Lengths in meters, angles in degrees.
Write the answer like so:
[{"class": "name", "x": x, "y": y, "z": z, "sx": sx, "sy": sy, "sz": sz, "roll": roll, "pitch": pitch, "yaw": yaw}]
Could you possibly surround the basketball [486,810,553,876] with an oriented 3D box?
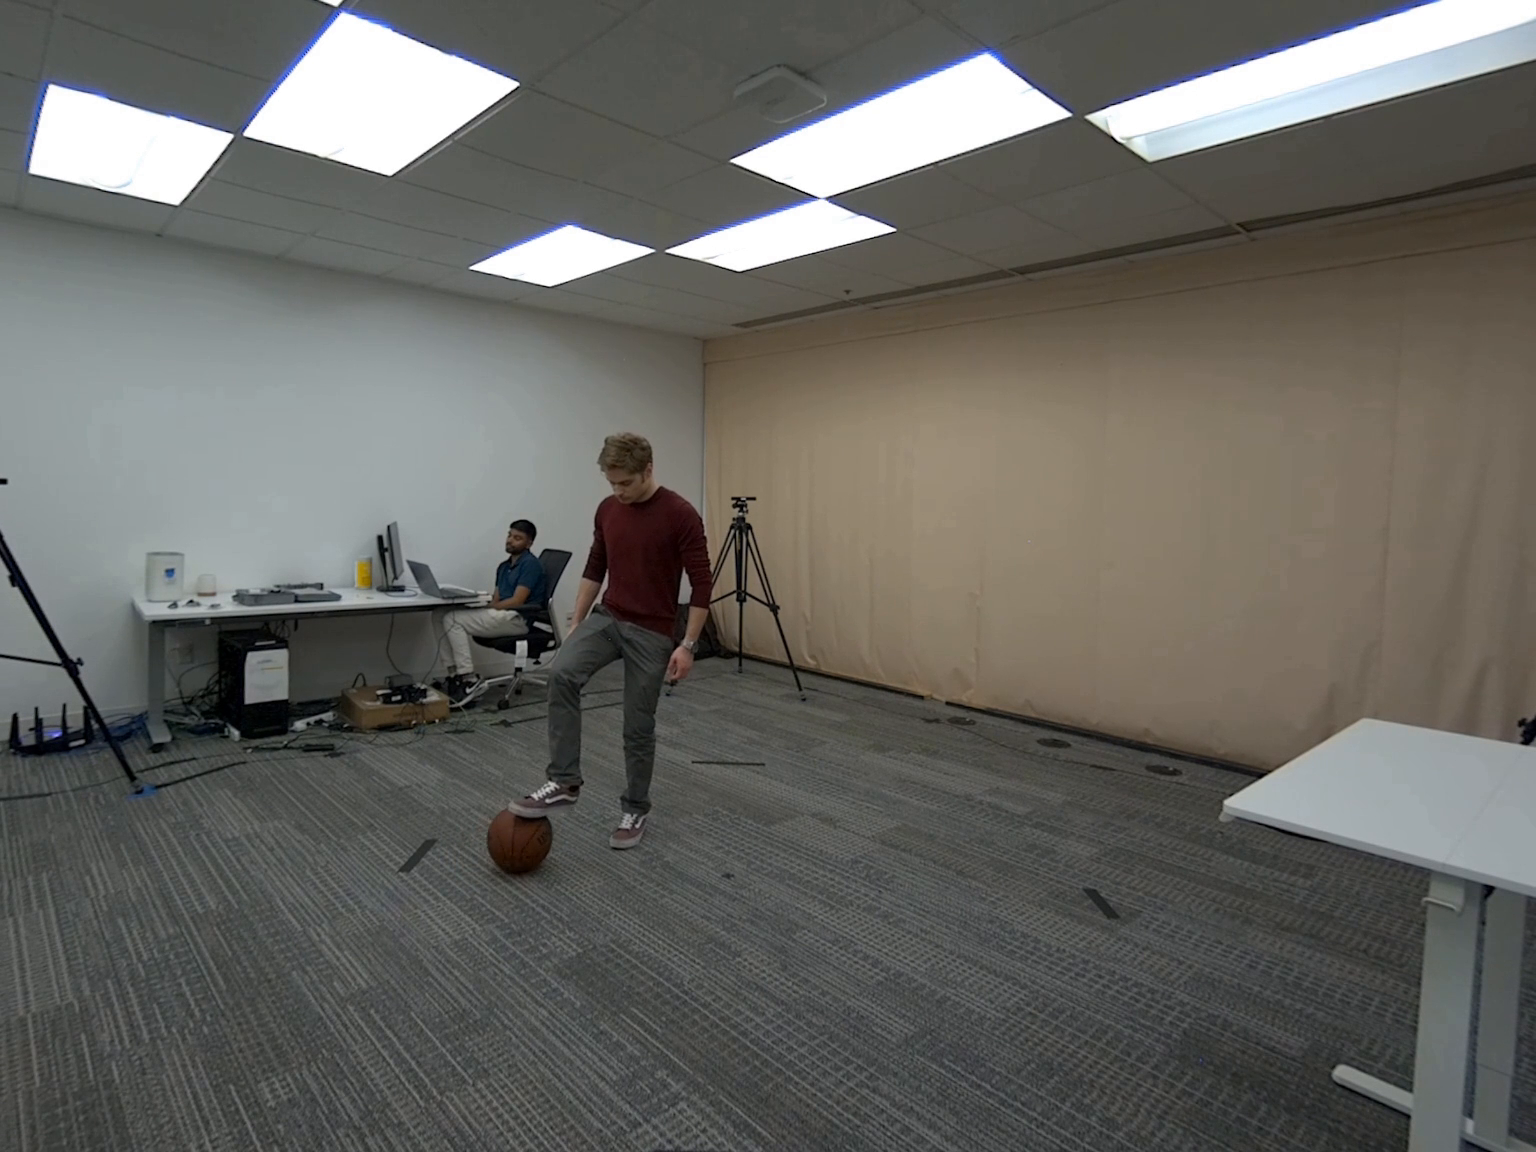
[{"class": "basketball", "x": -0.925, "y": 0.970, "z": 3.110, "sx": 0.236, "sy": 0.235, "sz": 0.237, "roll": 1, "pitch": 4, "yaw": -1}]
